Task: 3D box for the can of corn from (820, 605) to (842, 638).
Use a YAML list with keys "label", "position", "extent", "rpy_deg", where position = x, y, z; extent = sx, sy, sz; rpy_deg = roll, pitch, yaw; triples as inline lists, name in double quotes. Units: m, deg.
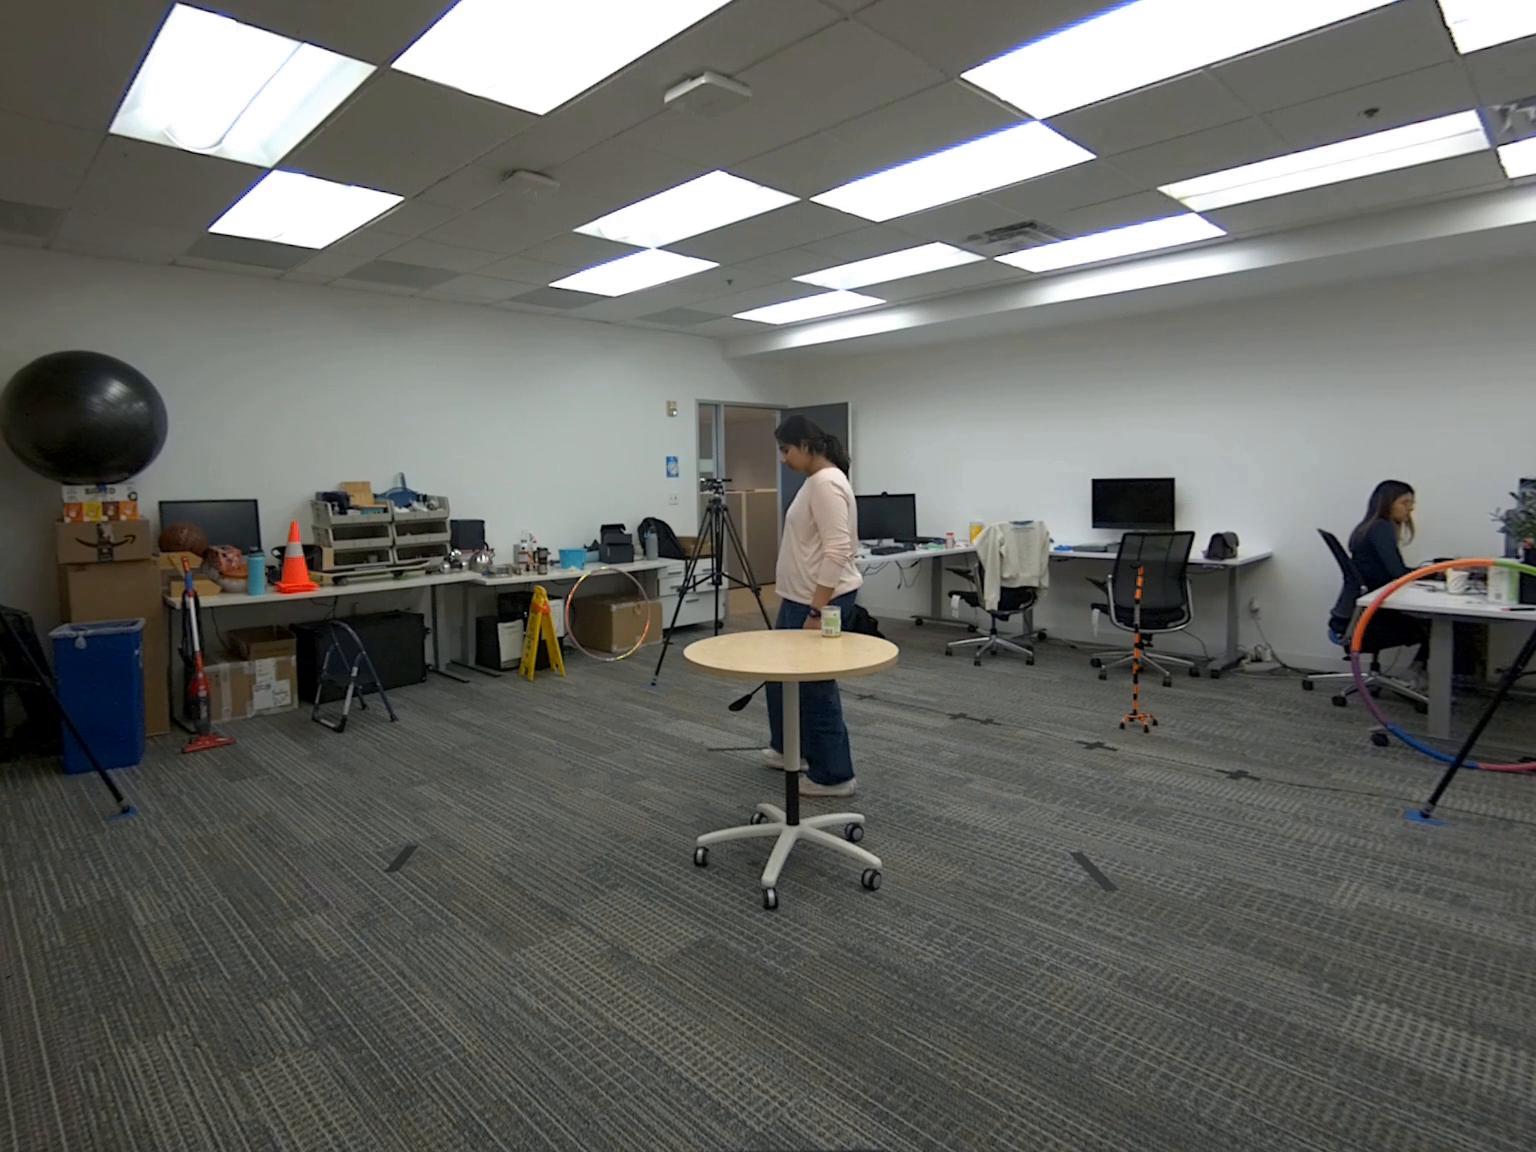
- label: "can of corn"
  position: [0.243, 0.178, 3.286]
  extent: [0.074, 0.111, 0.074]
  rpy_deg: [-2, 3, -2]
